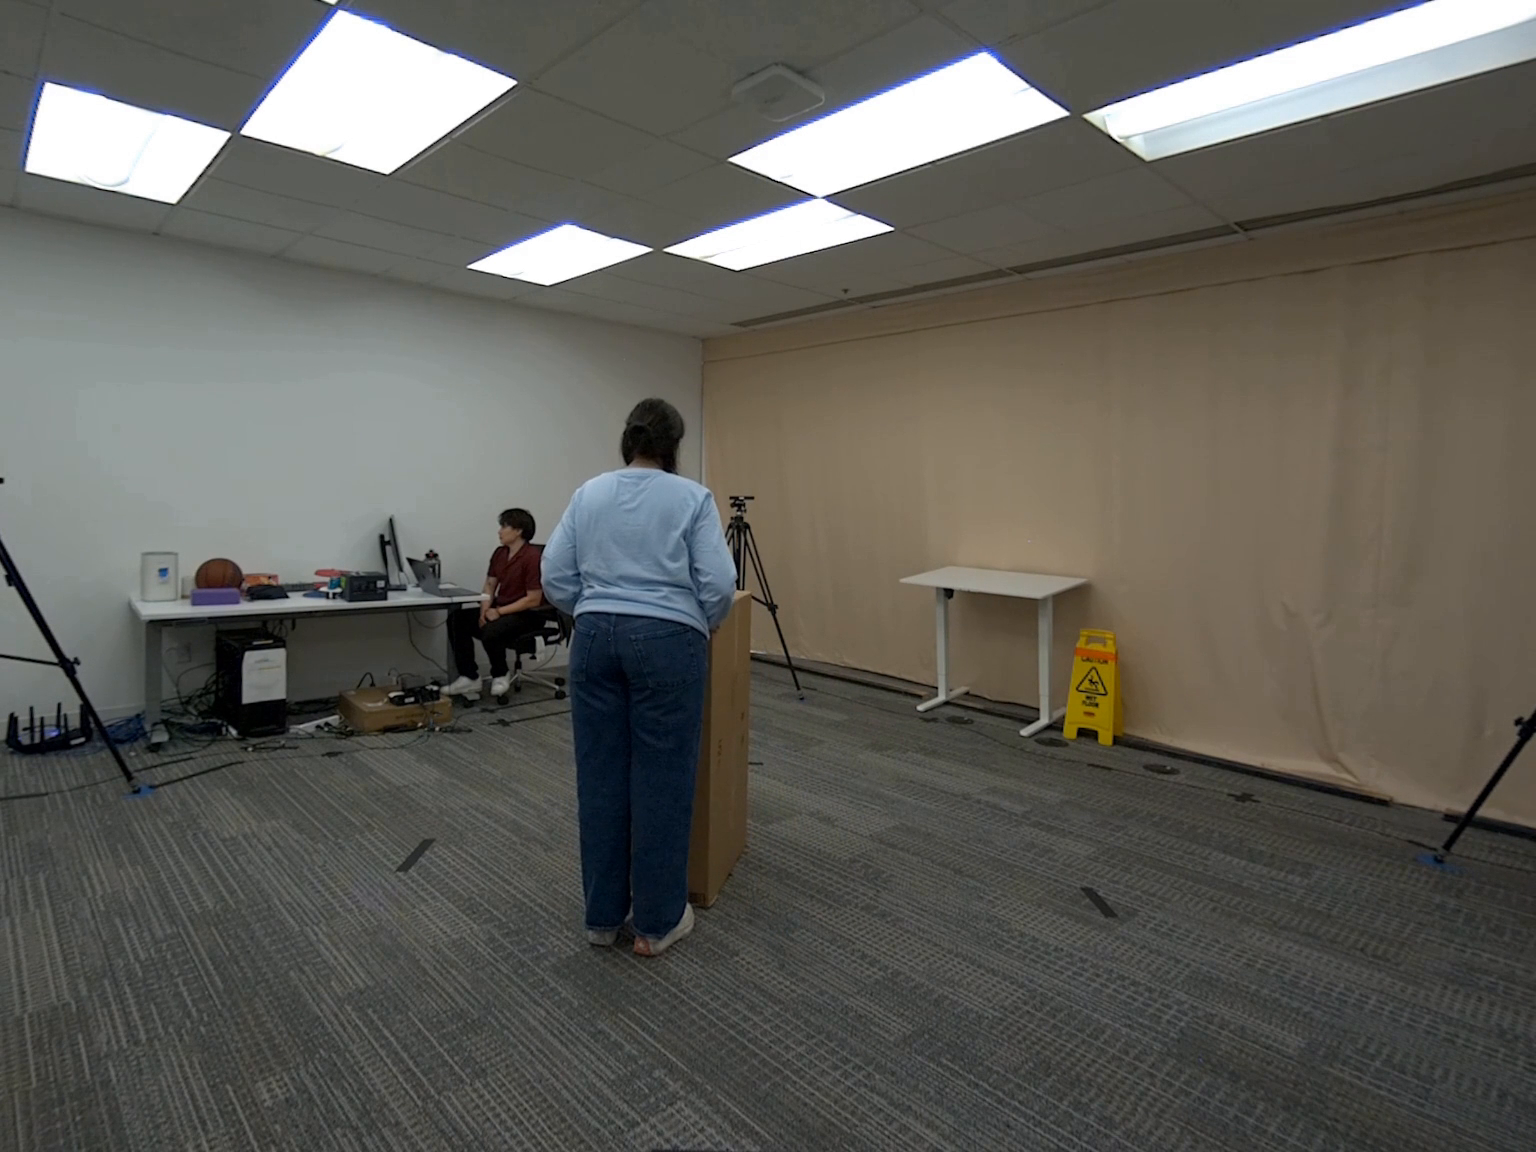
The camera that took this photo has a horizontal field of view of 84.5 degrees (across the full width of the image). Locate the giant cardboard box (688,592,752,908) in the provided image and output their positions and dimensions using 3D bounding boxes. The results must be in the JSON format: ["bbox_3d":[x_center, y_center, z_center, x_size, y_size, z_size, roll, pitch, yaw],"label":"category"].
[{"bbox_3d":[-0.338,0.588,3.150,0.431,1.023,0.572,2,3,13],"label":"giant cardboard box"}]
